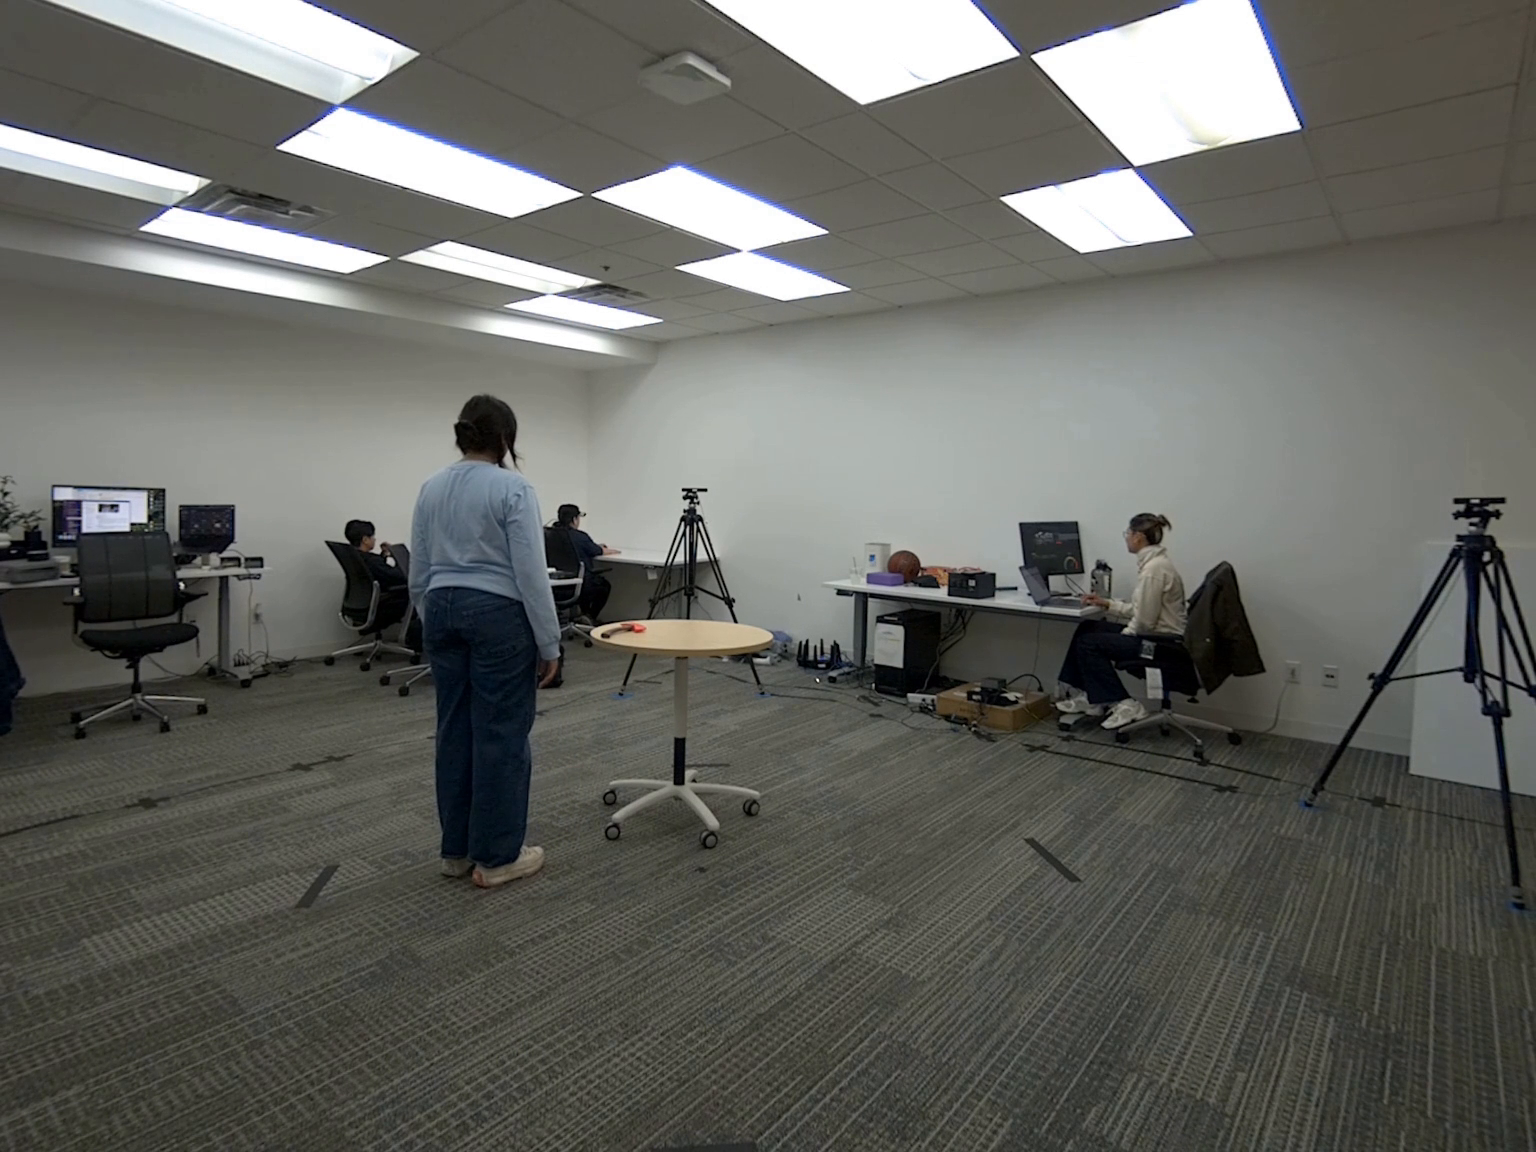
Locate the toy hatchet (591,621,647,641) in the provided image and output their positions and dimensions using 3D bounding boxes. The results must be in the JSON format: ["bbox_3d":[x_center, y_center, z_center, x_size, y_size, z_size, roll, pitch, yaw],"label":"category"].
[{"bbox_3d":[-0.602,0.224,3.537,0.132,0.029,0.269,7,8,8],"label":"toy hatchet"}]
